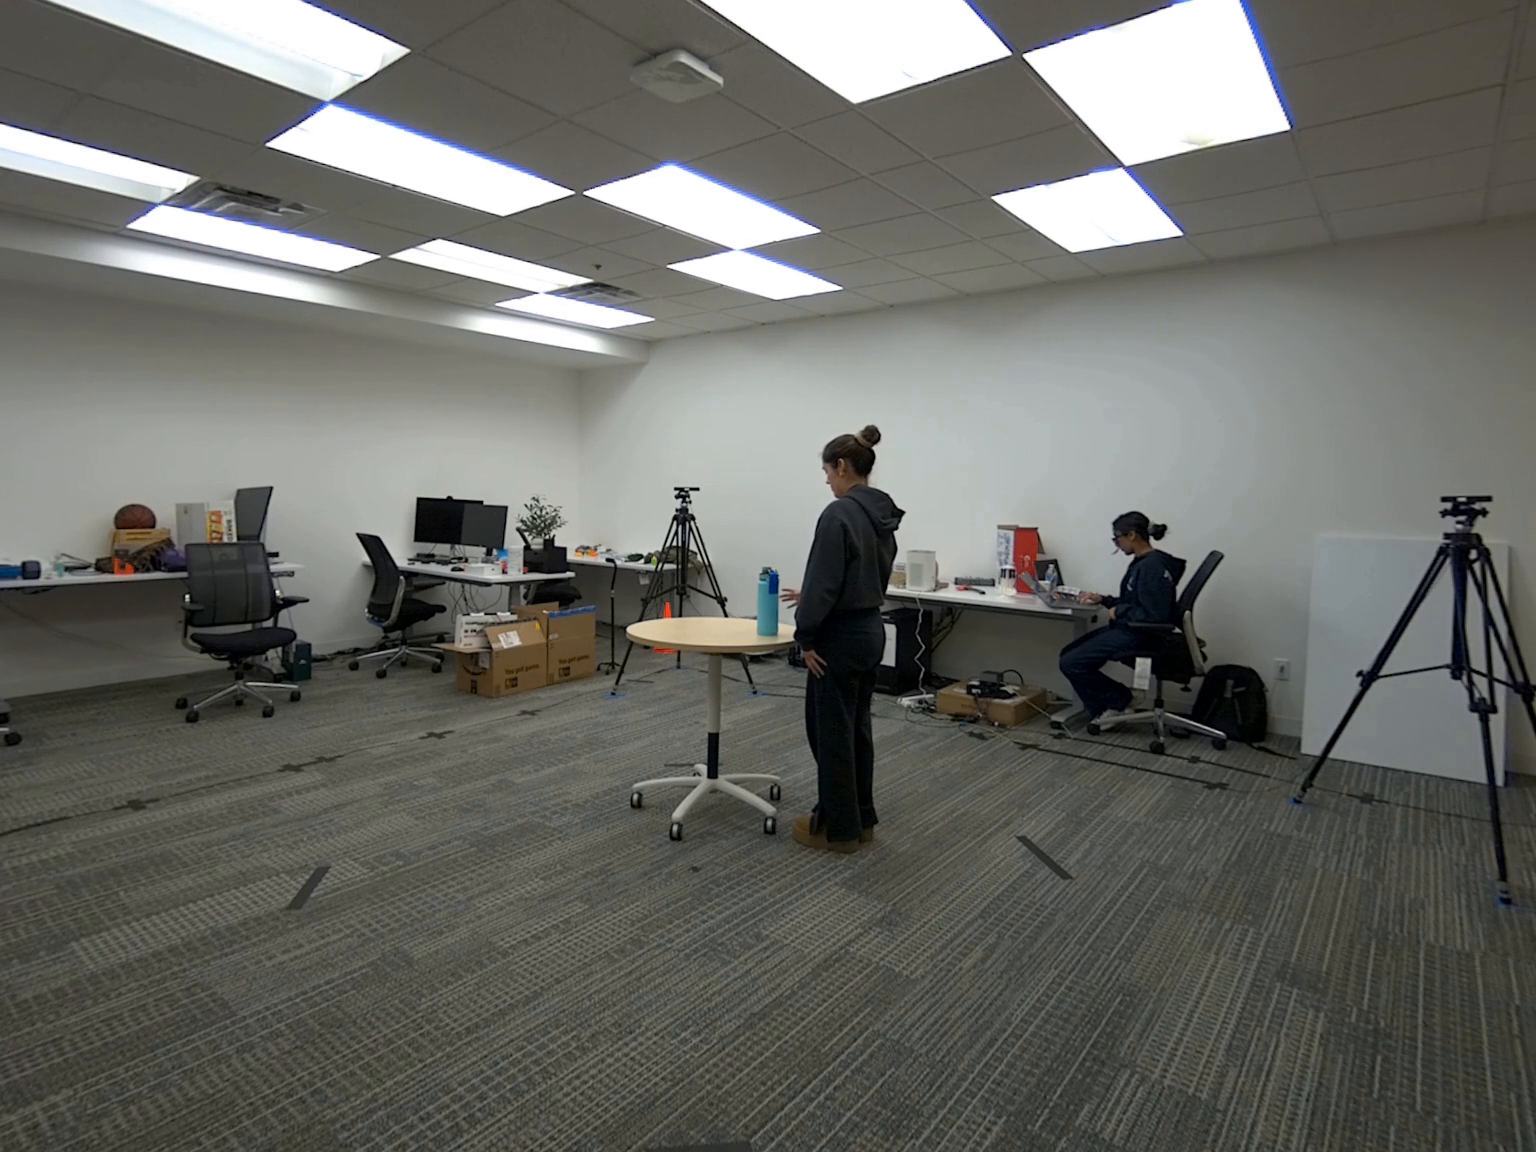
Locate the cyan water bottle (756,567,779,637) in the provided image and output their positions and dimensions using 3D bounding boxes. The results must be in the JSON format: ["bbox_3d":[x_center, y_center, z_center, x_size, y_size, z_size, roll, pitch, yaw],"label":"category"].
[{"bbox_3d":[0.003,0.103,3.581,0.092,0.283,0.093,4,2,-2],"label":"cyan water bottle"}]
